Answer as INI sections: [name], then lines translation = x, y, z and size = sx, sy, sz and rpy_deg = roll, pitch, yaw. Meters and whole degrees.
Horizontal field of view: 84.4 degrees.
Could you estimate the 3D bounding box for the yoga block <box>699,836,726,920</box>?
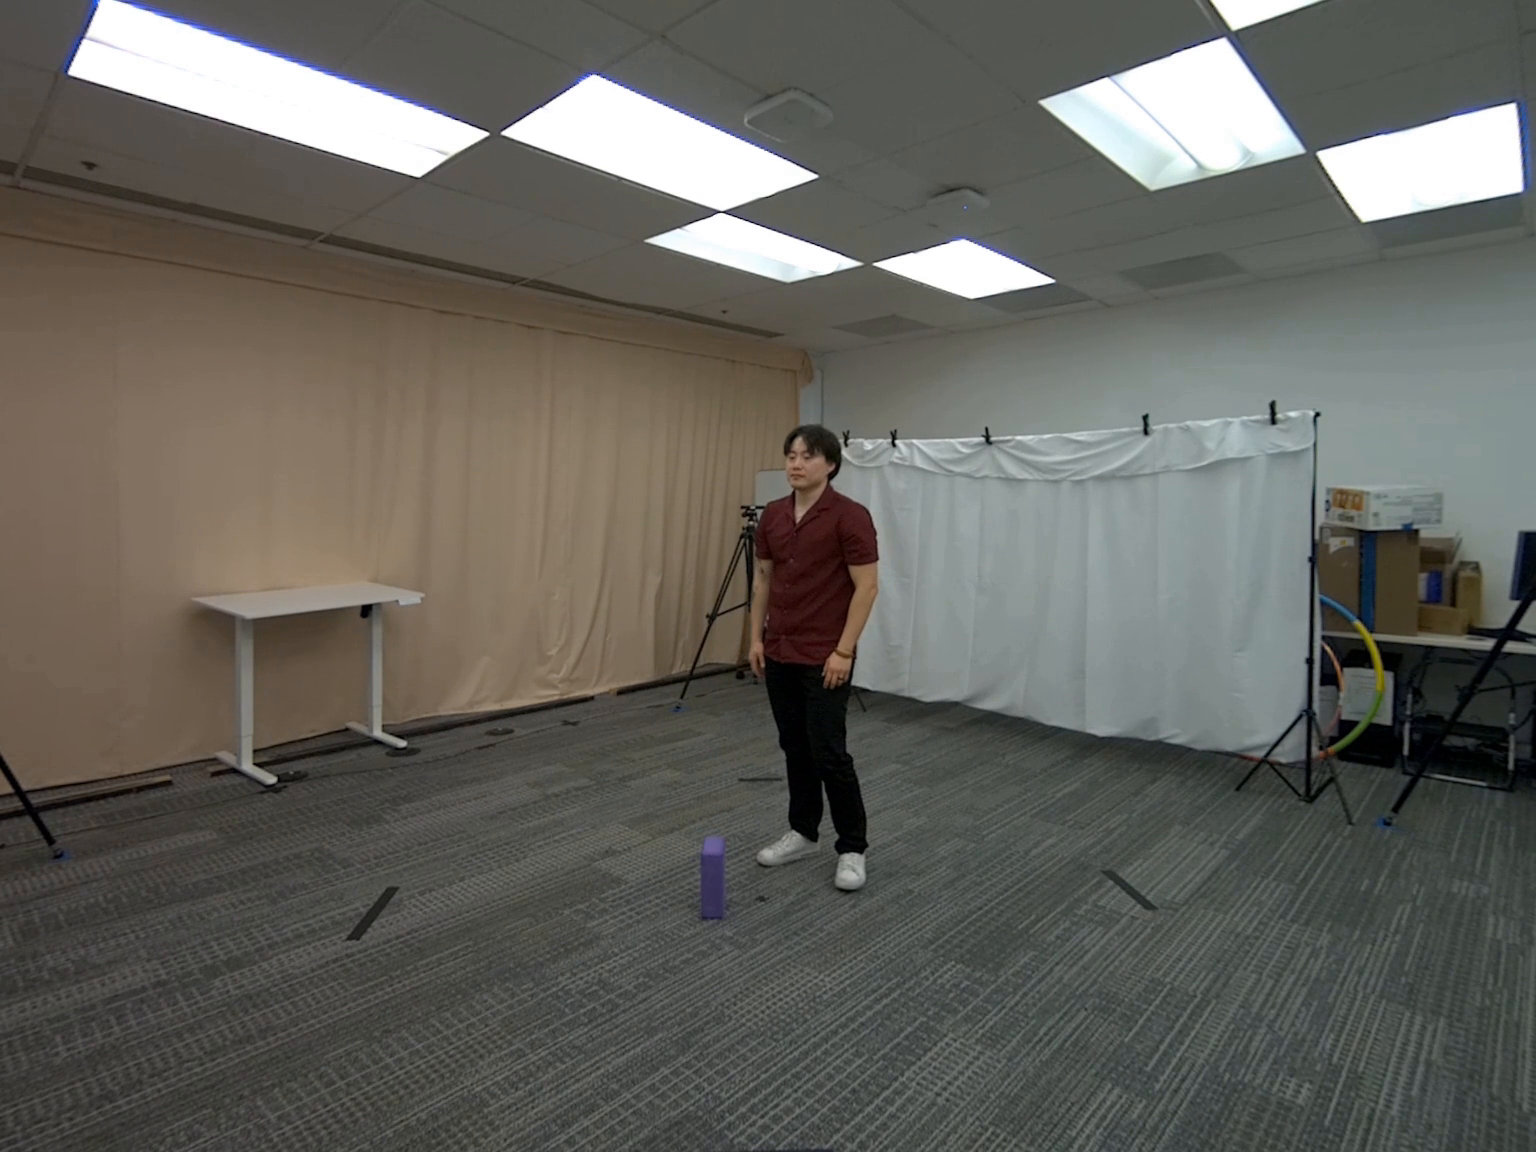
[yoga block]
translation = -0.187, 1.039, 2.897
size = 0.077, 0.229, 0.149
rpy_deg = 1, 3, 2
